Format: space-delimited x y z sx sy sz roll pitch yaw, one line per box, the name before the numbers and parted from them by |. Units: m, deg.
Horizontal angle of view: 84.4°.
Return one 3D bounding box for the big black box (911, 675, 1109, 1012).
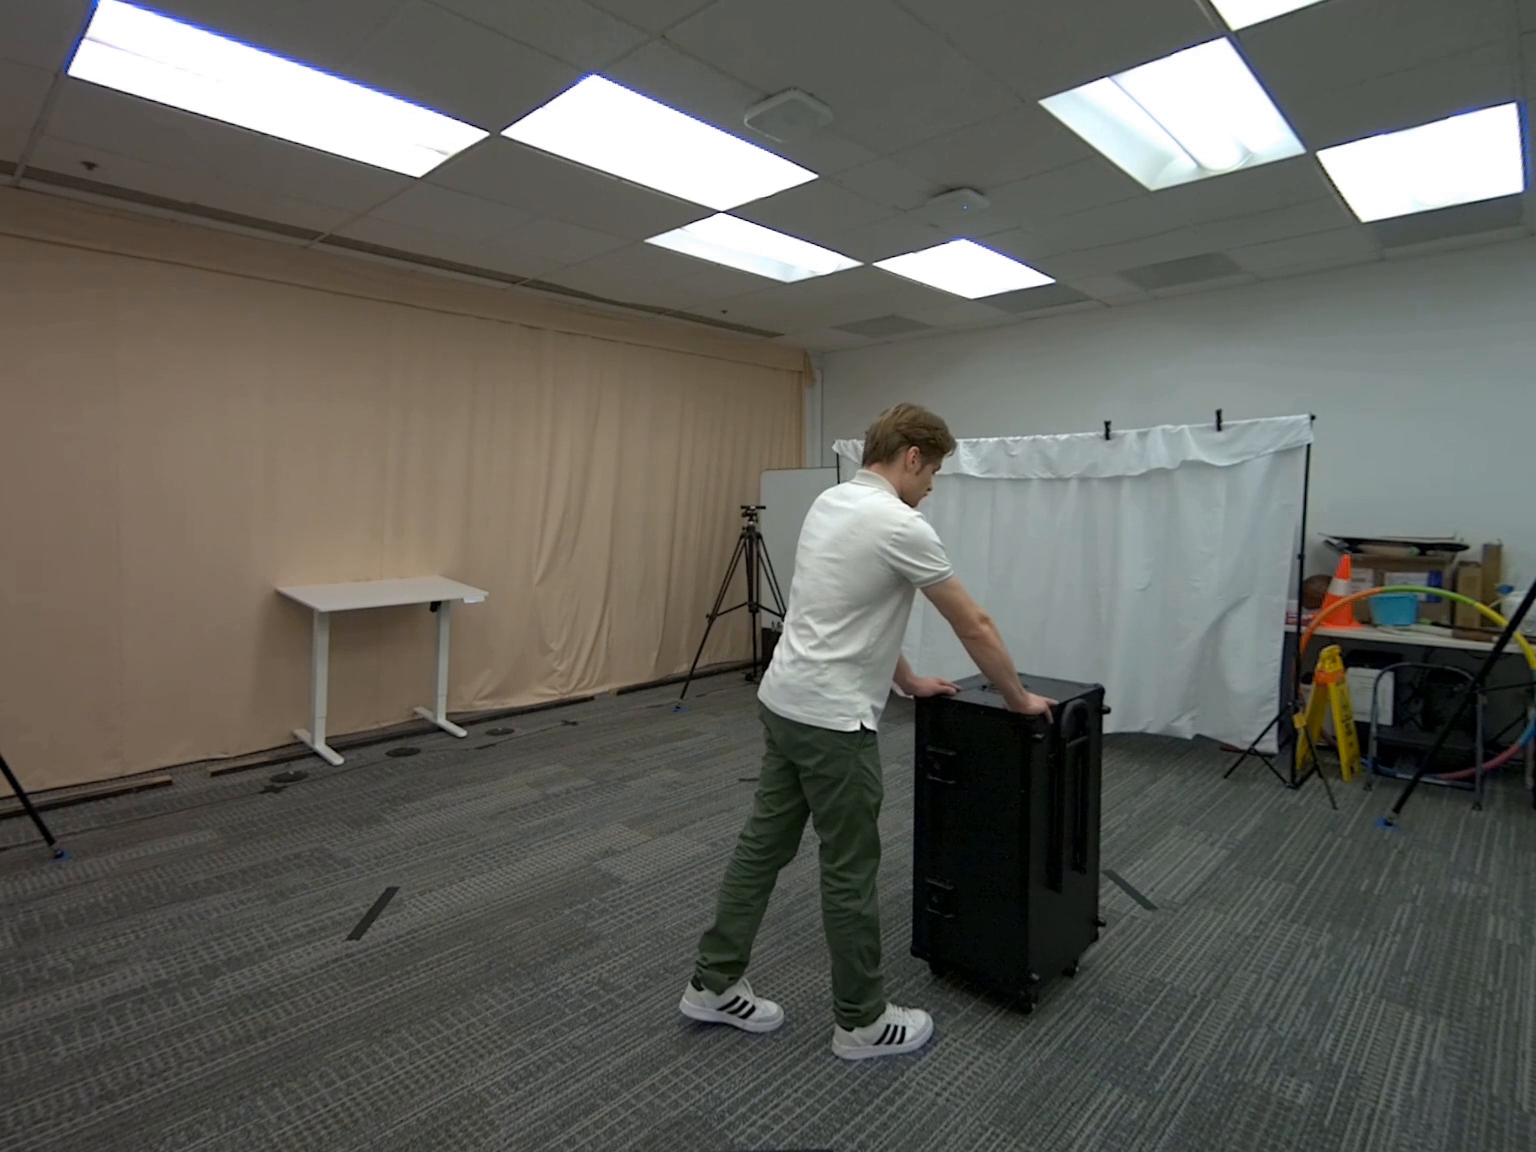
big black box | 0.729 0.760 2.502 0.398 0.866 0.507 3 5 44
